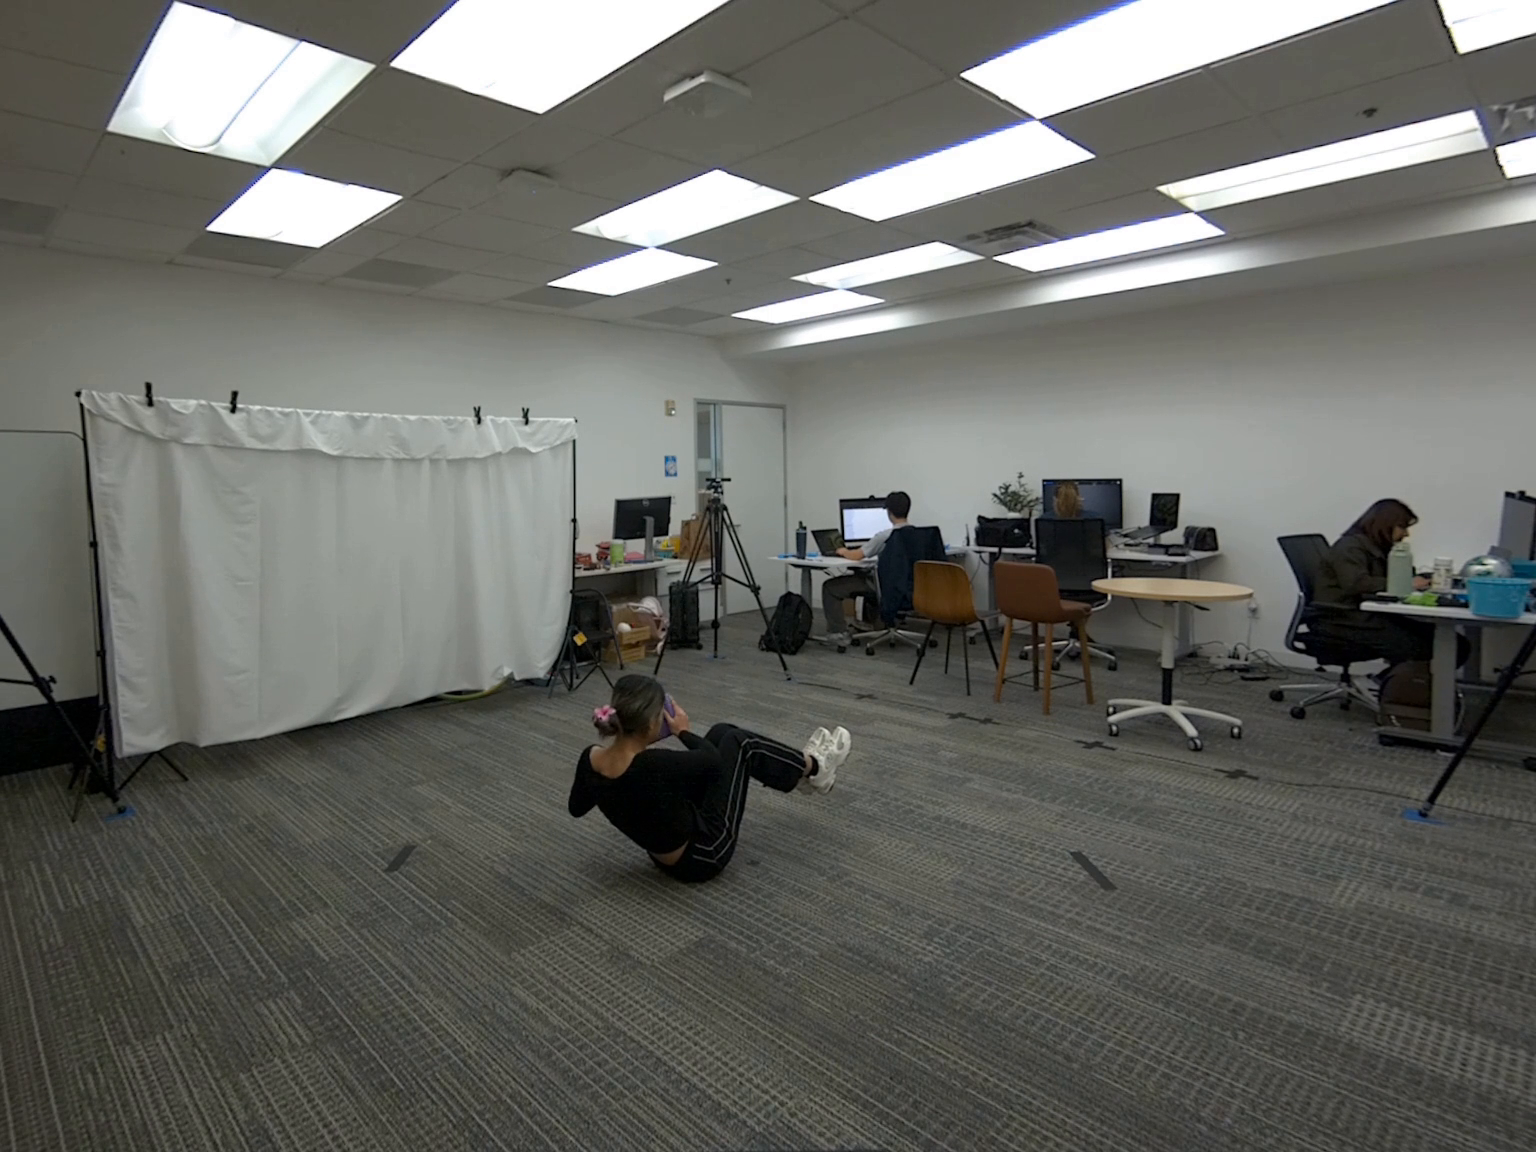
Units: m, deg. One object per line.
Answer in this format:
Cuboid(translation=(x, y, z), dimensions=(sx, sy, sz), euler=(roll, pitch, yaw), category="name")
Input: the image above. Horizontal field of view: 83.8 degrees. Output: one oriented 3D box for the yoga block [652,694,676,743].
Cuboid(translation=(-0.452, 0.568, 3.256), dimensions=(0.230, 0.150, 0.075), euler=(-23, -7, 11), category="yoga block")
